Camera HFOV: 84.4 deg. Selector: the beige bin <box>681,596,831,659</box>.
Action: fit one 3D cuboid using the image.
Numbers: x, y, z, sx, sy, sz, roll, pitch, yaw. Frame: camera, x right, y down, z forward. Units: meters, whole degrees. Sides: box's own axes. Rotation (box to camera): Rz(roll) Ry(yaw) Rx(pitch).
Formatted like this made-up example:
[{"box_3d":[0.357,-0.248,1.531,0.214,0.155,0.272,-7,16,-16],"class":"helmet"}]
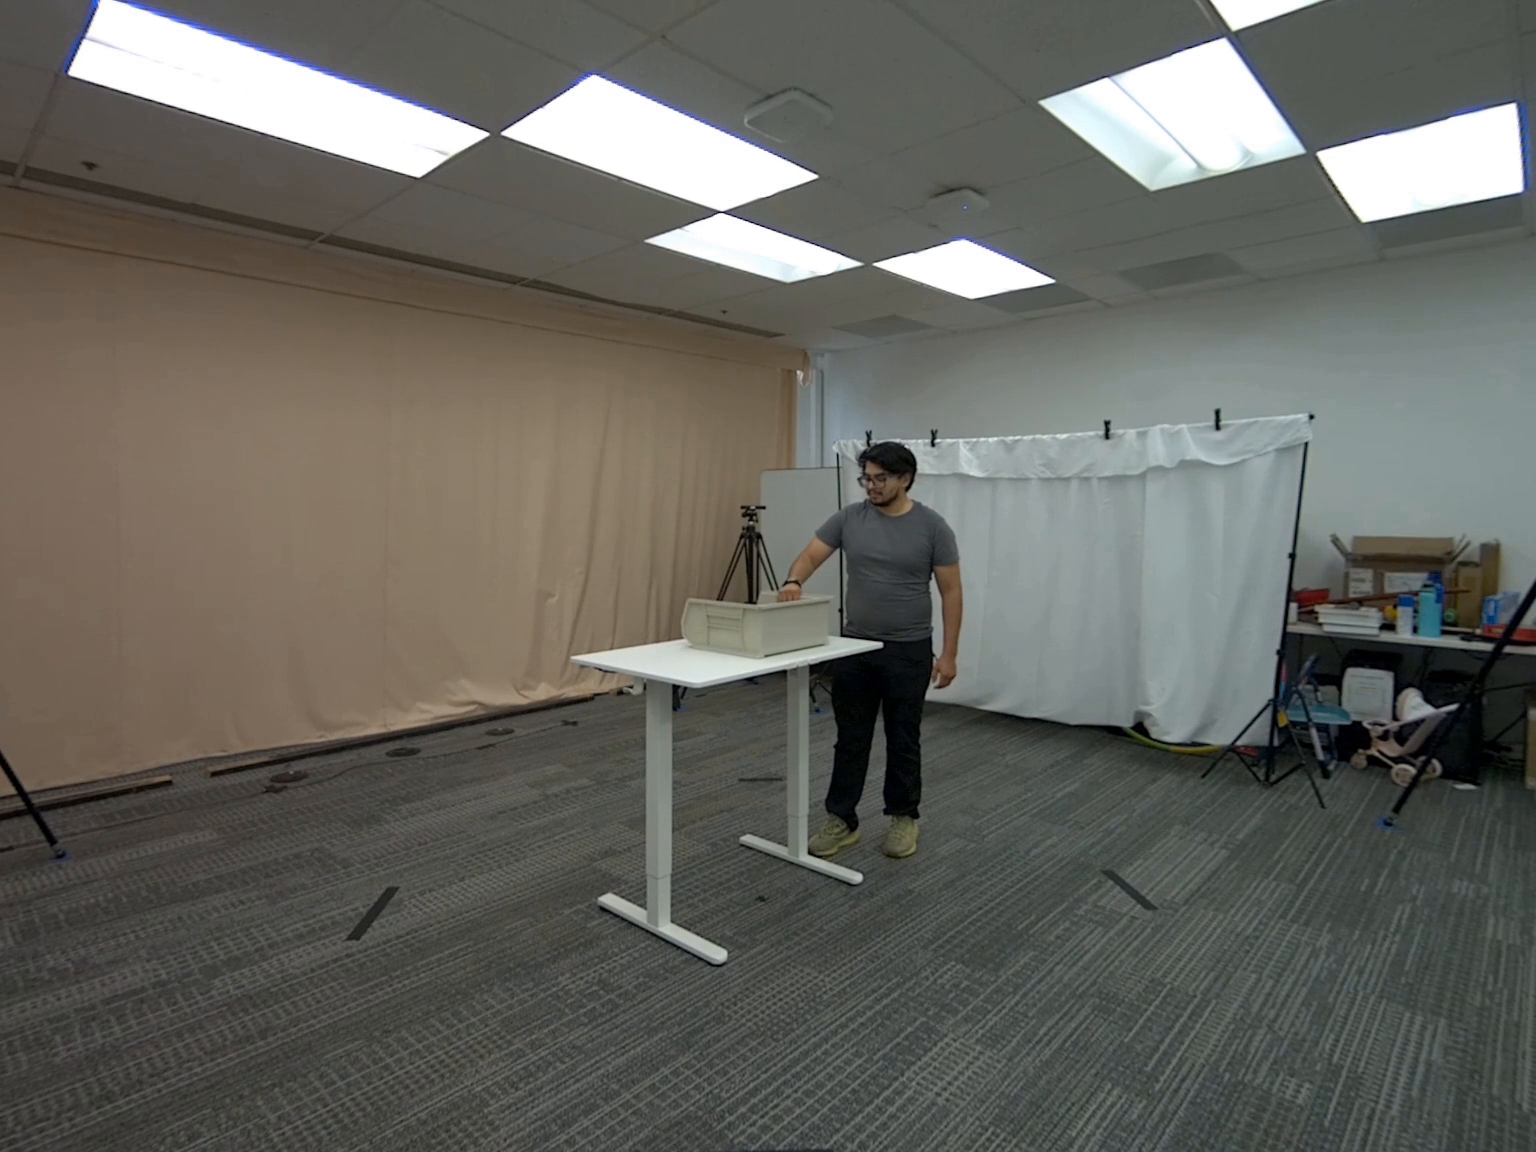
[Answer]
[{"box_3d":[-0.036,0.165,3.056,0.390,0.188,0.409,6,7,41],"class":"beige bin"}]
